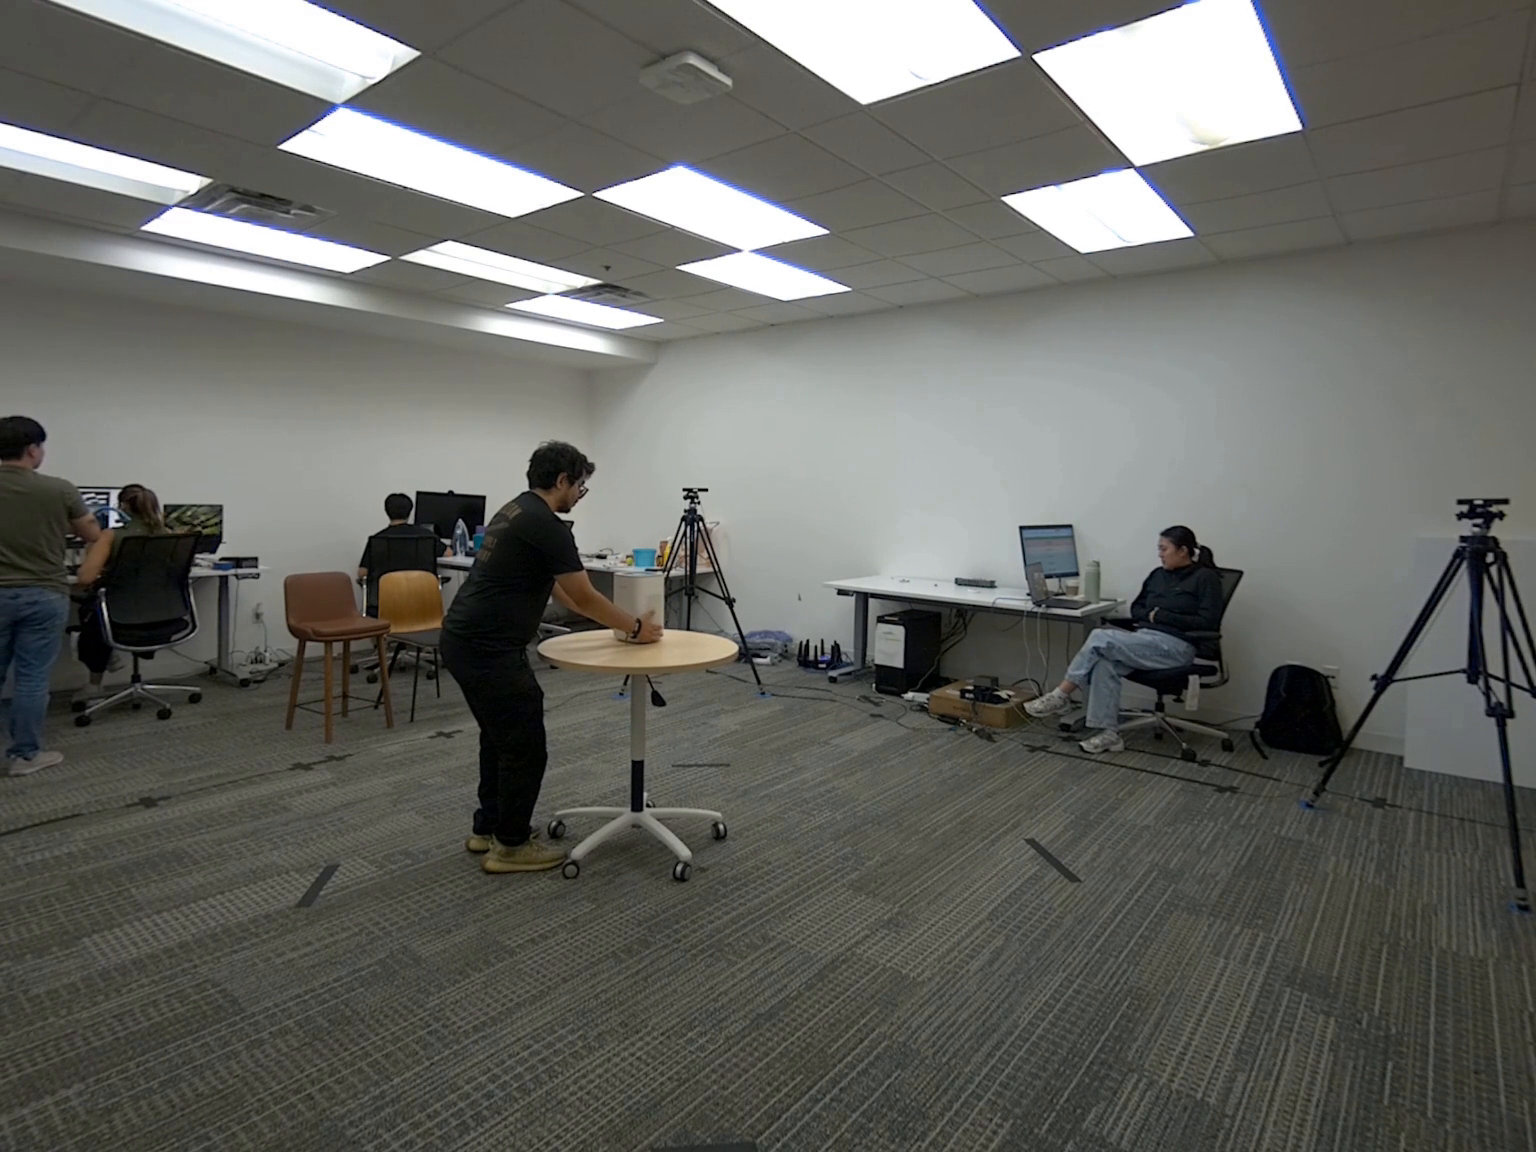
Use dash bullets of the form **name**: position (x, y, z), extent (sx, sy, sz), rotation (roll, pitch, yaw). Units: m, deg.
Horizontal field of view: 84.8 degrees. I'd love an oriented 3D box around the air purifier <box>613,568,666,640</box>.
- **air purifier**: position (-0.529, 0.122, 3.383), extent (0.176, 0.265, 0.167), rotation (3, 3, 33)
